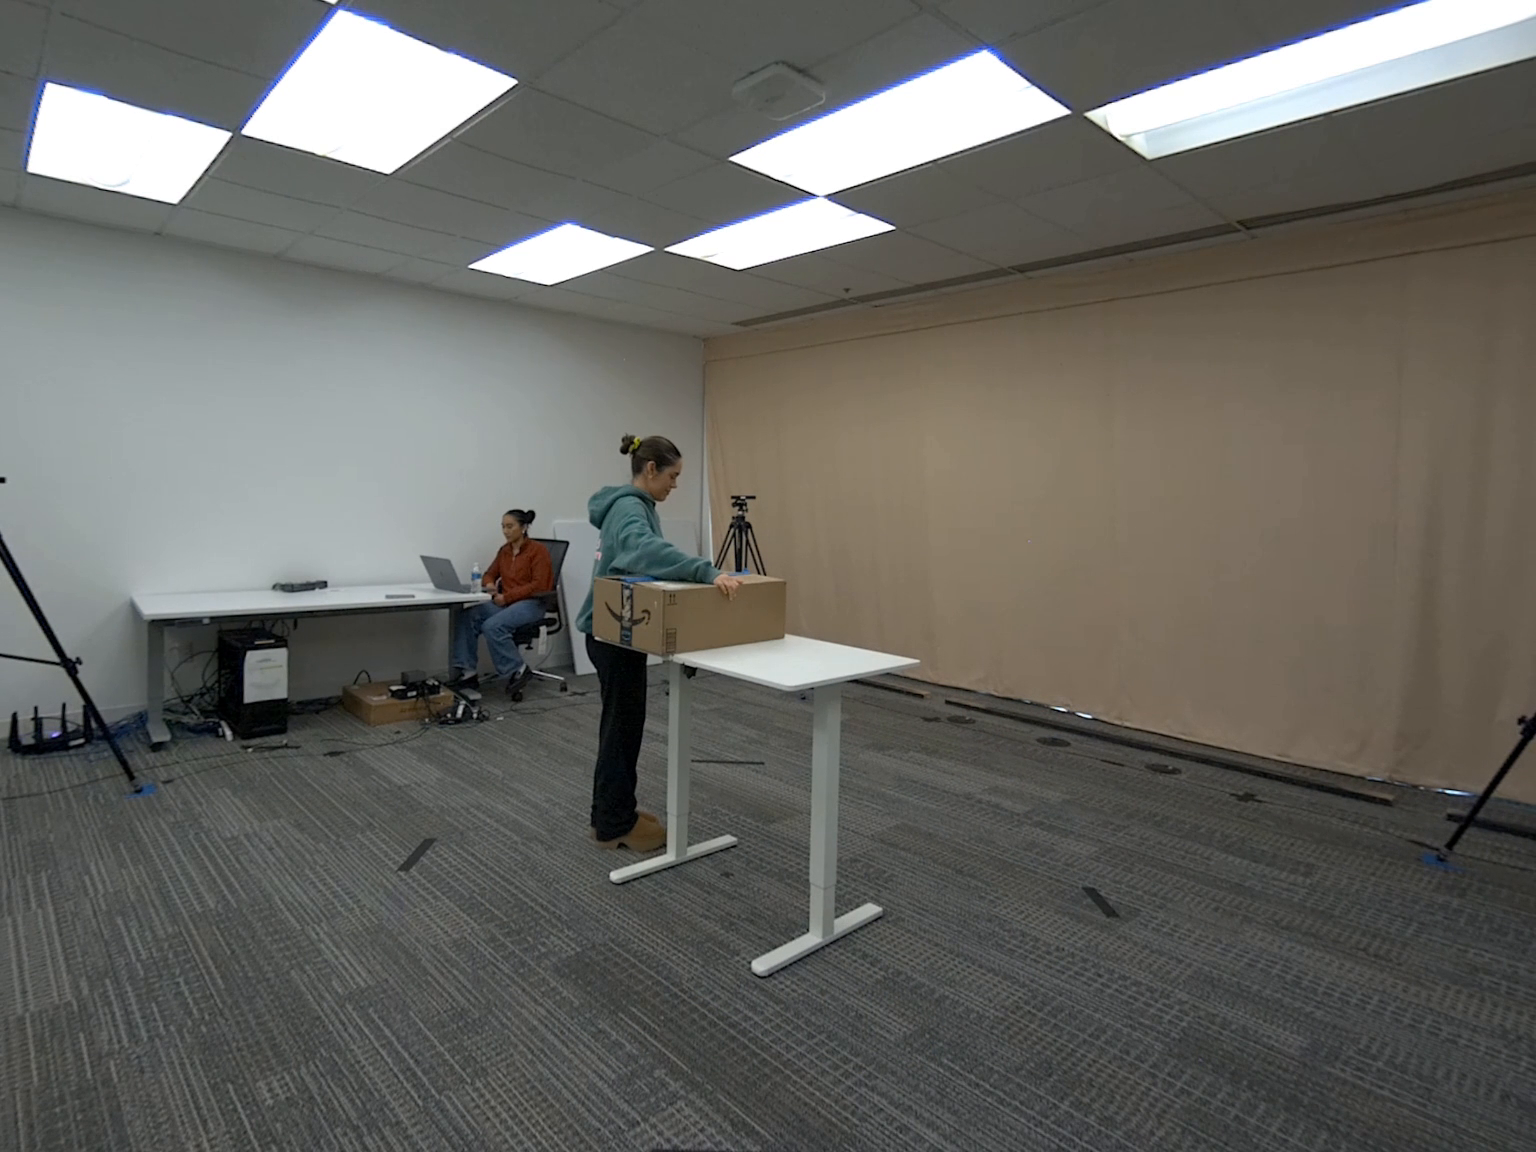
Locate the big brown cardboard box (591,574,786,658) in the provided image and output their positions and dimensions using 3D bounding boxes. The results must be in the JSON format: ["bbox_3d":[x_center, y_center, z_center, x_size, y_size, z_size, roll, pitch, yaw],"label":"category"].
[{"bbox_3d":[-0.288,0.119,3.022,0.575,0.232,0.428,-2,7,-43],"label":"big brown cardboard box"}]
